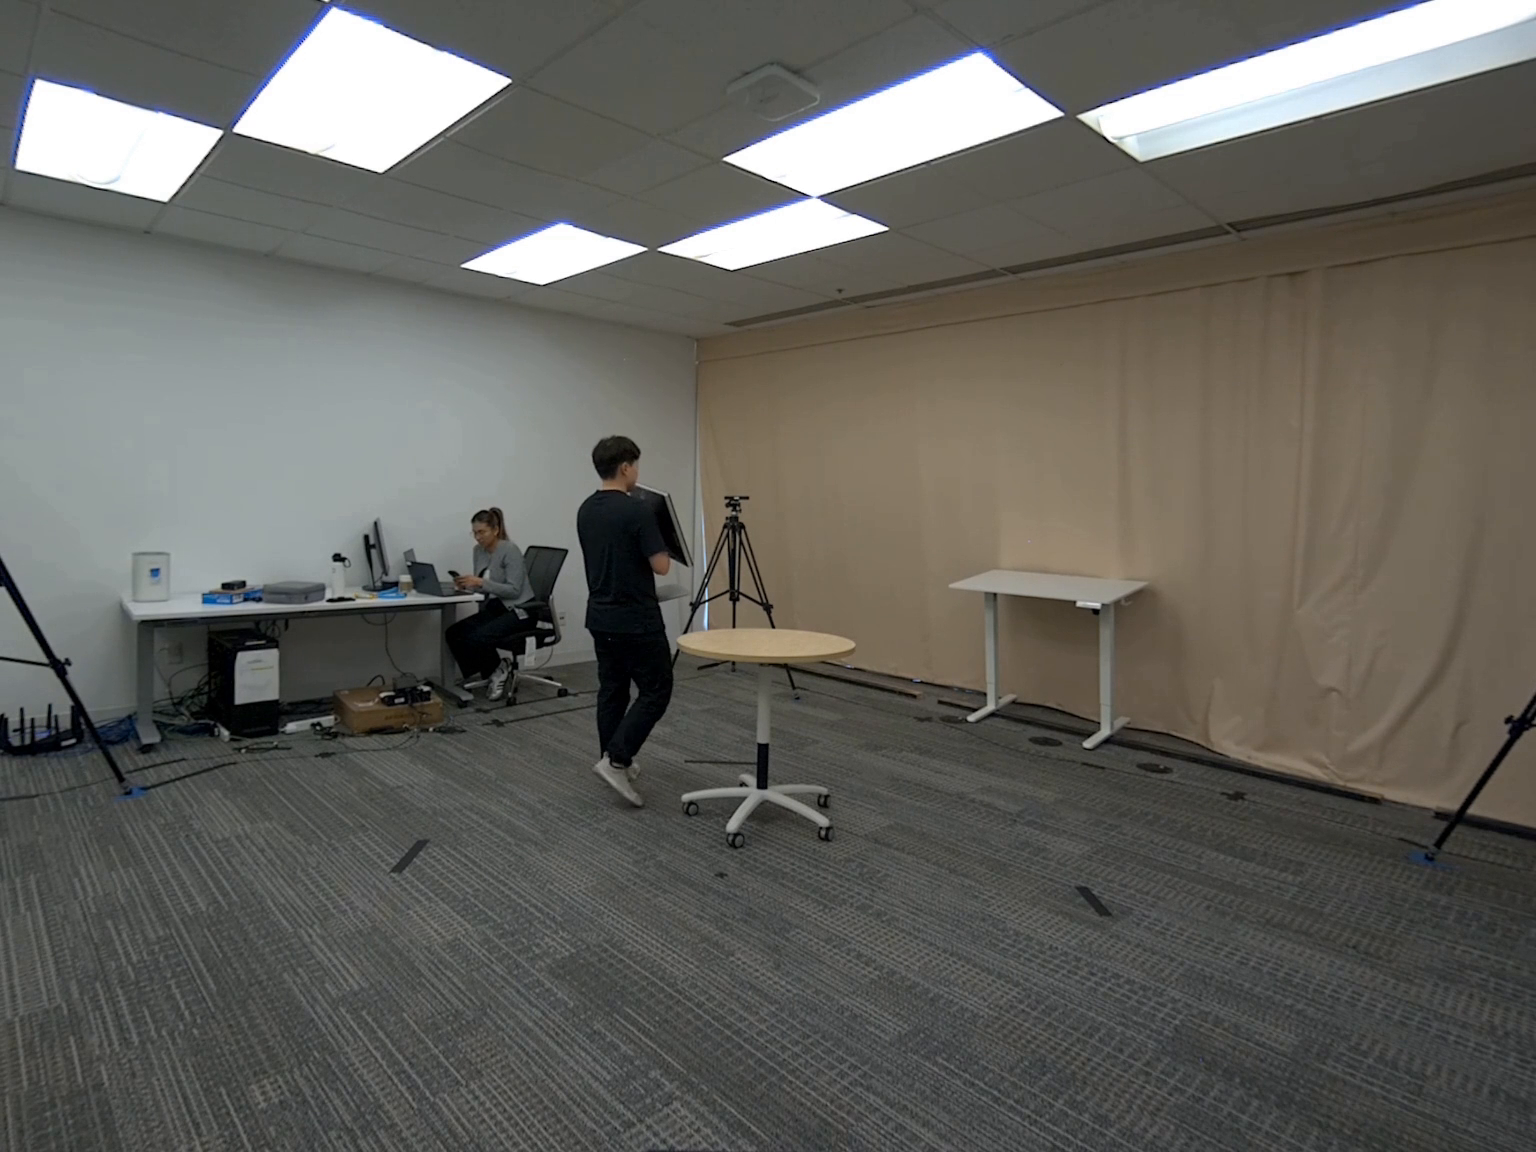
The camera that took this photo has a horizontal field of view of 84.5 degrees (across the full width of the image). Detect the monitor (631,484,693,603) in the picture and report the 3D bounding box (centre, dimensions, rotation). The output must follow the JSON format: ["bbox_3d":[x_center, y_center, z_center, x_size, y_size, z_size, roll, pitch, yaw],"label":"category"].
[{"bbox_3d":[-0.551,-0.173,4.072,0.184,0.516,0.553,-12,16,-27],"label":"monitor"}]
